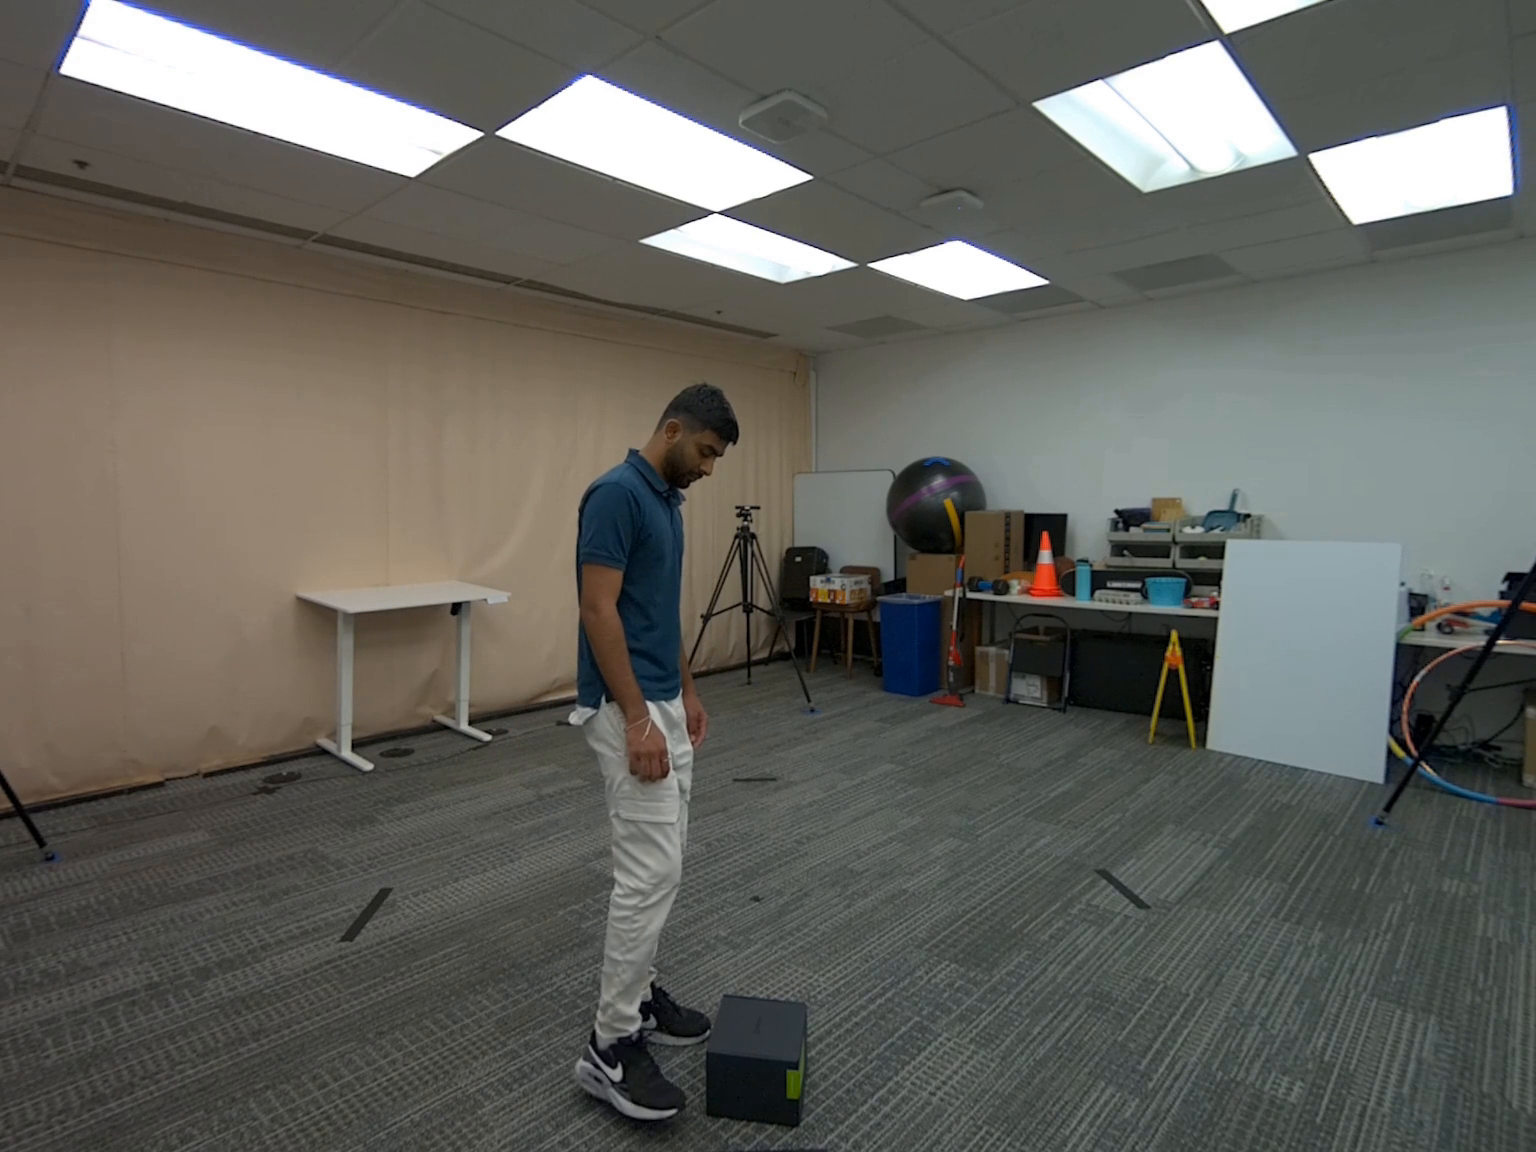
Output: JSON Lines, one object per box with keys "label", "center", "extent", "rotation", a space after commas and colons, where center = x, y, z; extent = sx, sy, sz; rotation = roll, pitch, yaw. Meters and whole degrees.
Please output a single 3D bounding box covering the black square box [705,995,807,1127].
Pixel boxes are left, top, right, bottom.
{"label": "black square box", "center": [-0.017, 1.147, 1.992], "extent": [0.219, 0.155, 0.226], "rotation": [1, 4, 8]}
